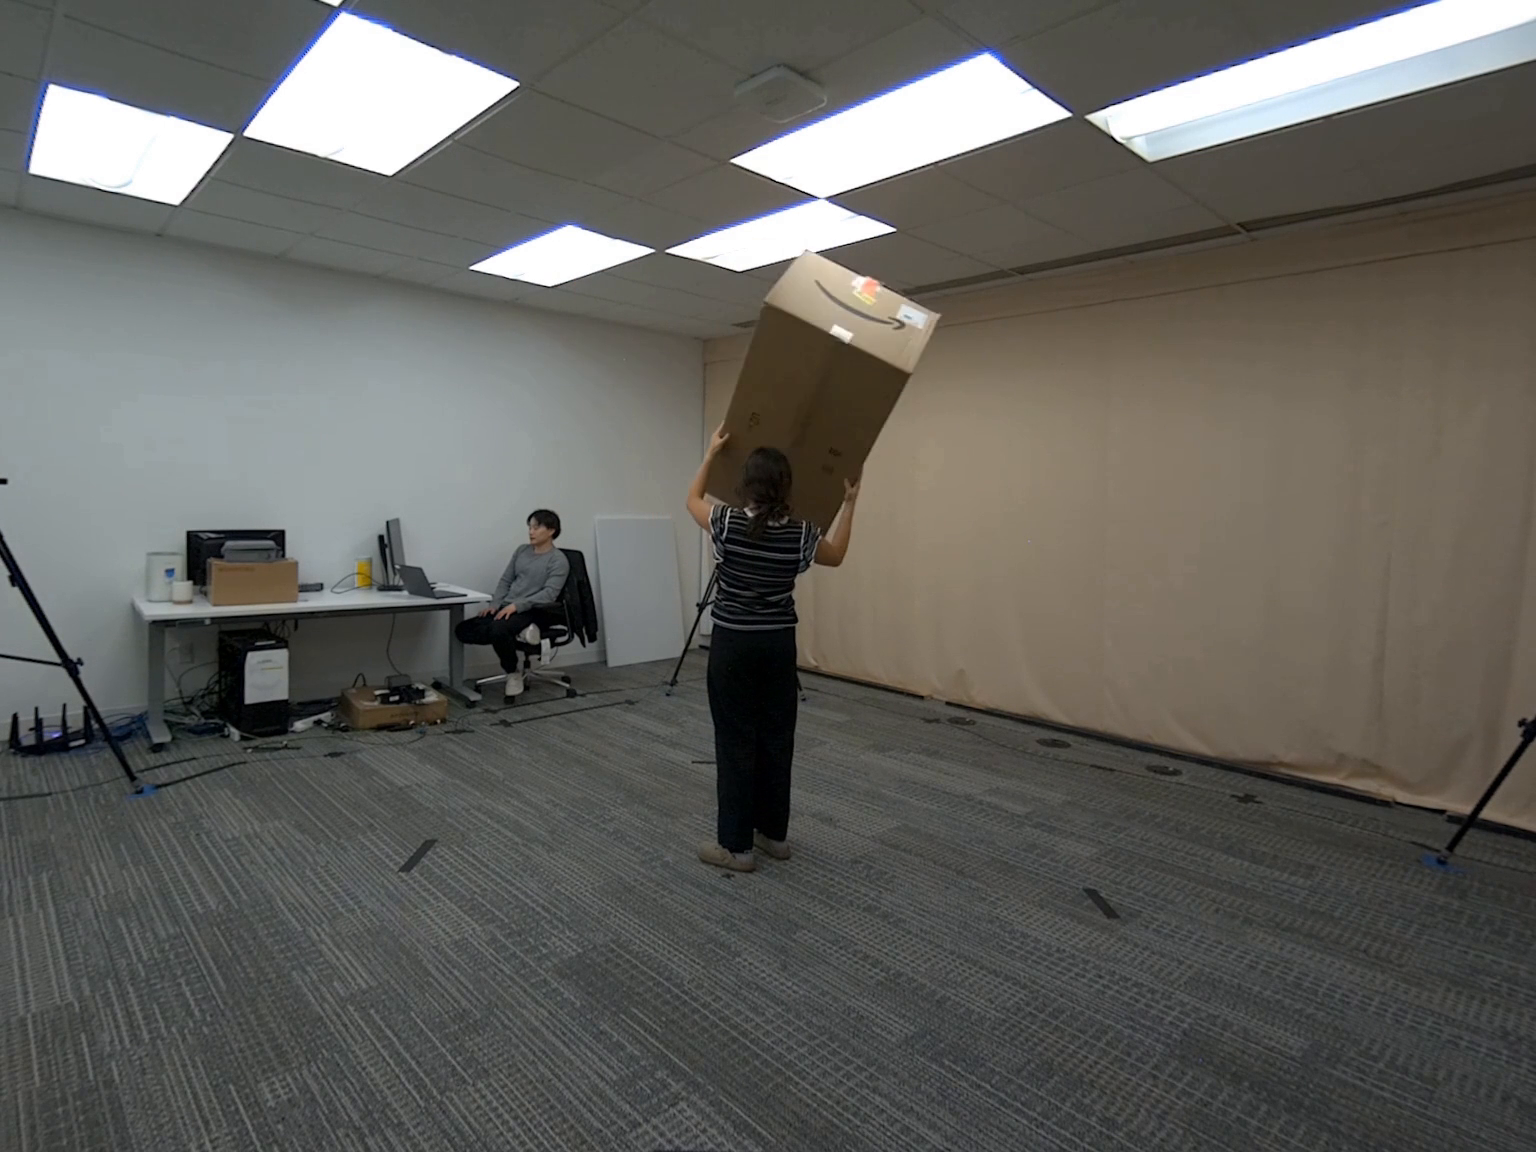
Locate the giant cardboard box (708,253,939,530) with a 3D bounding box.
[{"bbox_3d":[0.161,-0.668,3.397,0.580,0.429,1.015,28,-39,2],"label":"giant cardboard box"}]
